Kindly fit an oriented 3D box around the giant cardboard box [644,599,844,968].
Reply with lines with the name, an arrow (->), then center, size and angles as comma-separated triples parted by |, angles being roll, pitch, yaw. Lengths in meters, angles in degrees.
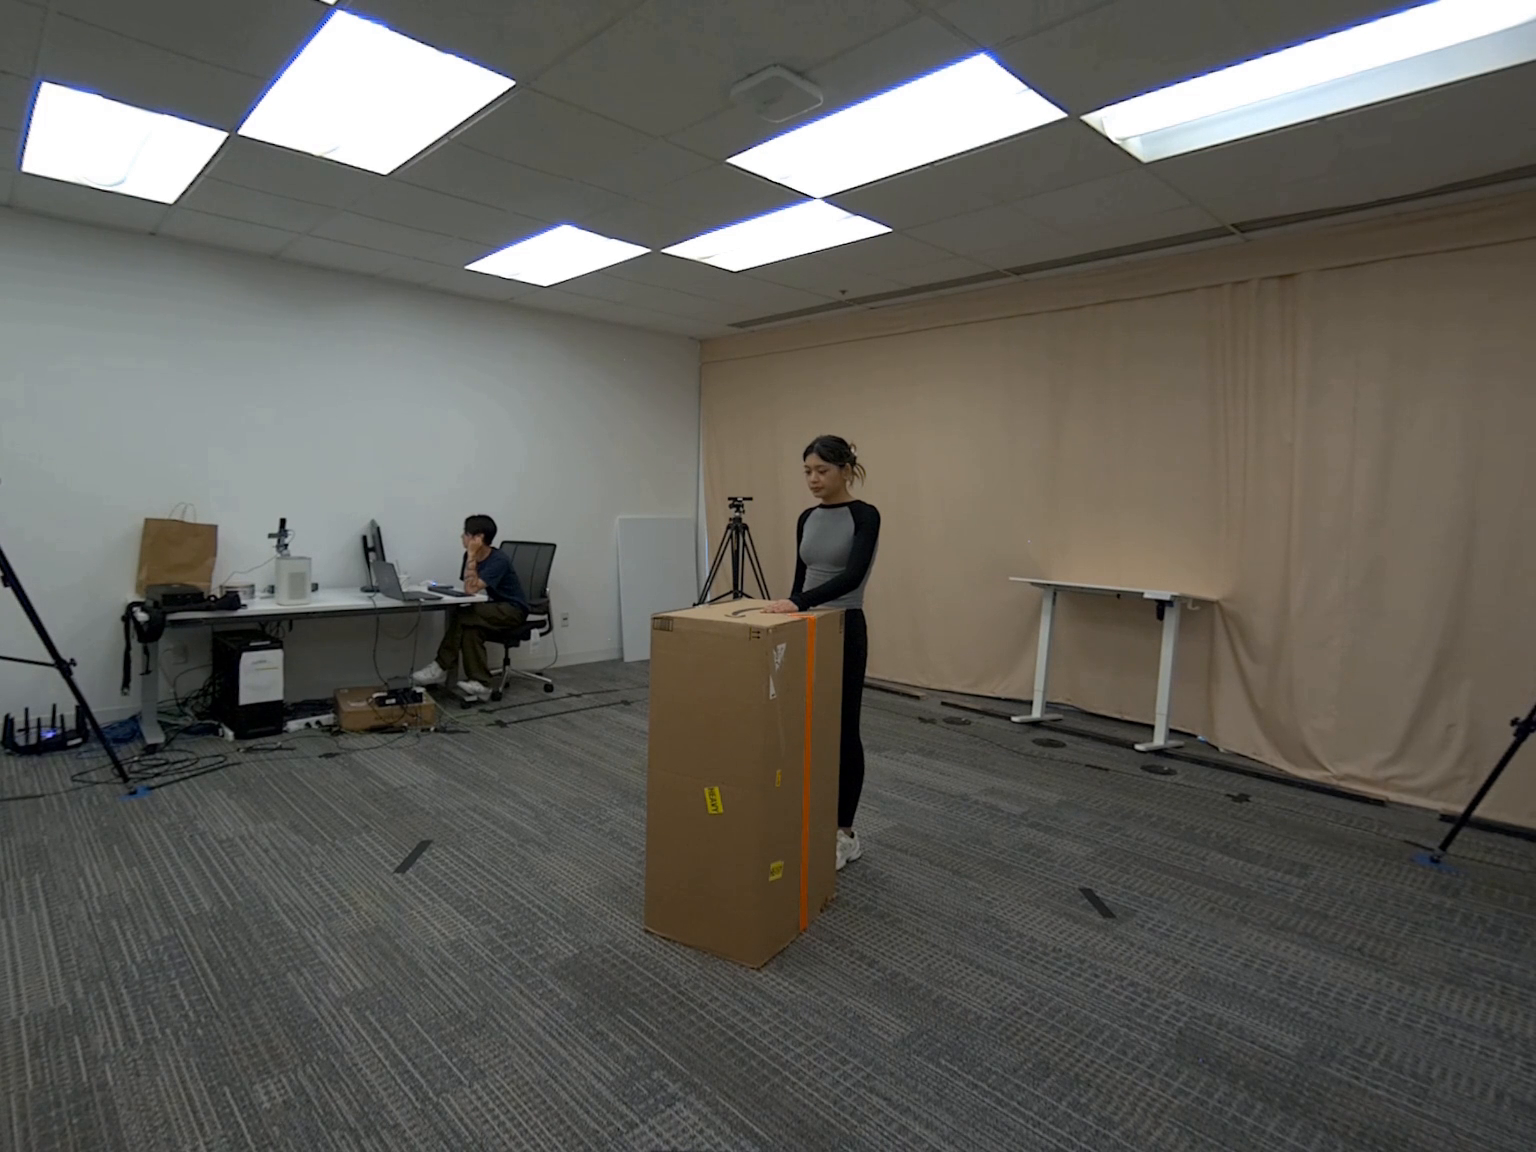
giant cardboard box -> -0.070, 0.631, 2.804 | 0.456, 1.025, 0.573 | 2, 3, 29
